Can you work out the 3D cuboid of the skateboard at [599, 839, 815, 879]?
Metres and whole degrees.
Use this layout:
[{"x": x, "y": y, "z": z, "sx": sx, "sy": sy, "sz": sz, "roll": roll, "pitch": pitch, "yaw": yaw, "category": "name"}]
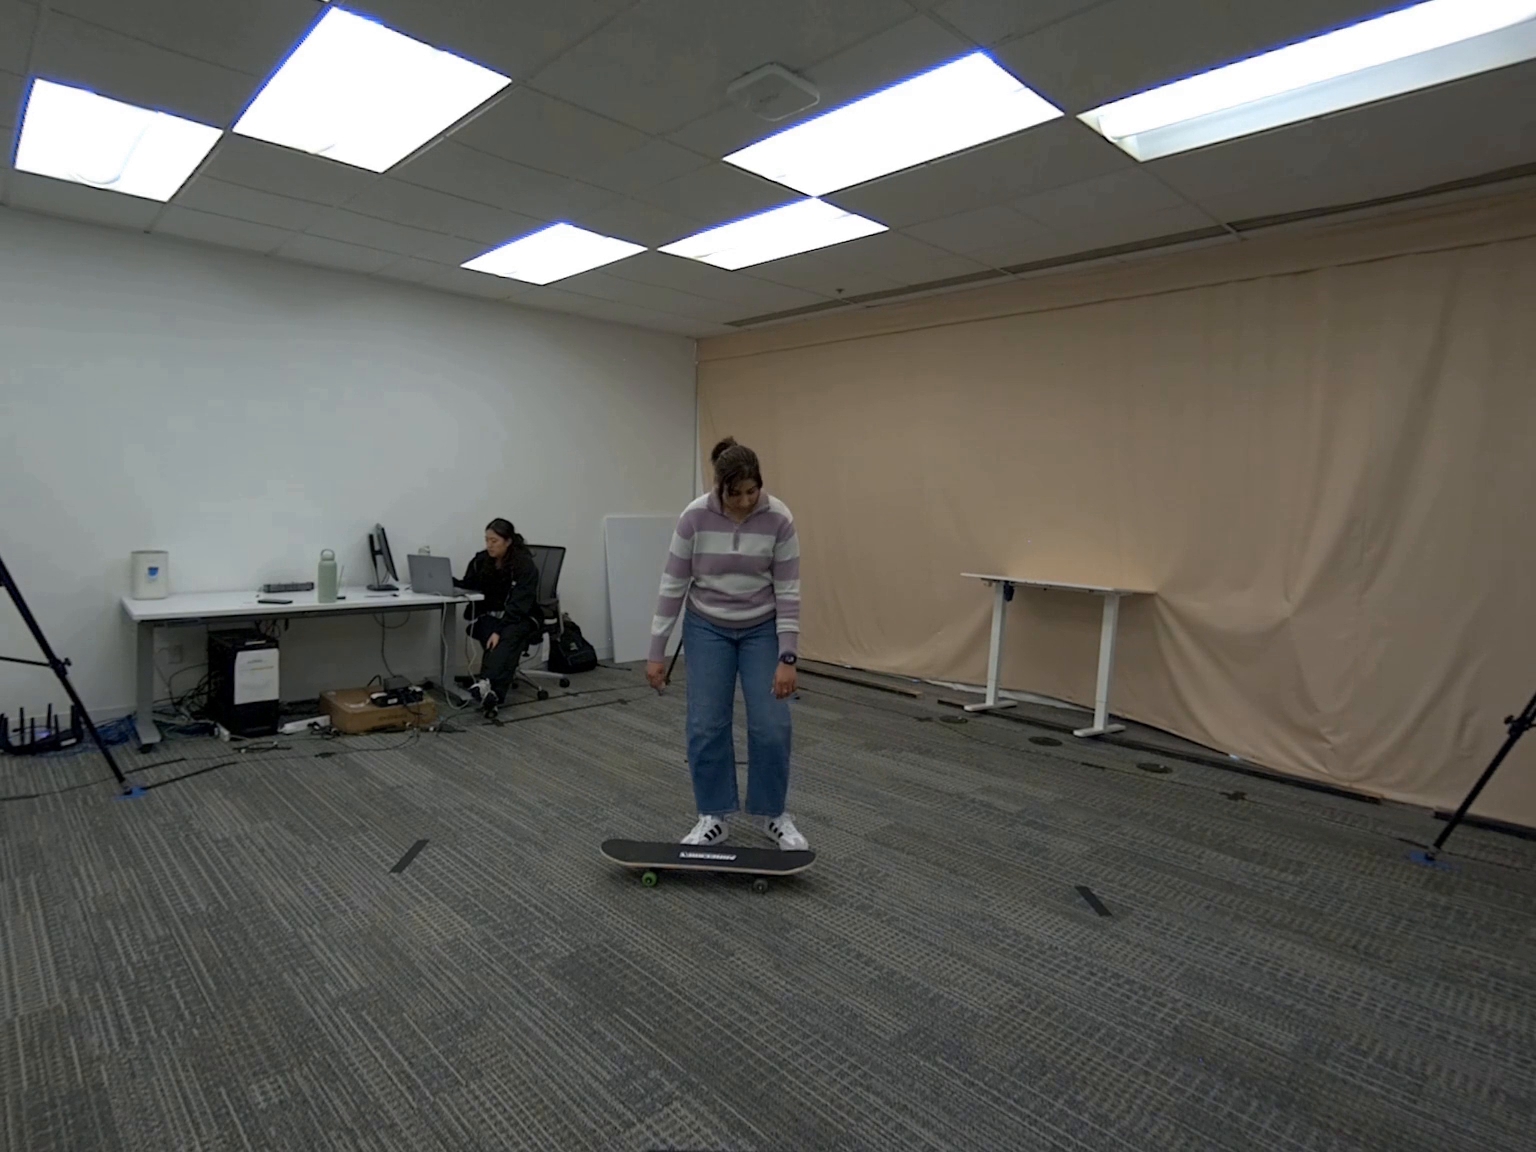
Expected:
[{"x": -0.228, "y": 1.048, "z": 3.060, "sx": 0.789, "sy": 0.110, "sz": 0.193, "roll": 2, "pitch": 4, "yaw": 5, "category": "skateboard"}]
